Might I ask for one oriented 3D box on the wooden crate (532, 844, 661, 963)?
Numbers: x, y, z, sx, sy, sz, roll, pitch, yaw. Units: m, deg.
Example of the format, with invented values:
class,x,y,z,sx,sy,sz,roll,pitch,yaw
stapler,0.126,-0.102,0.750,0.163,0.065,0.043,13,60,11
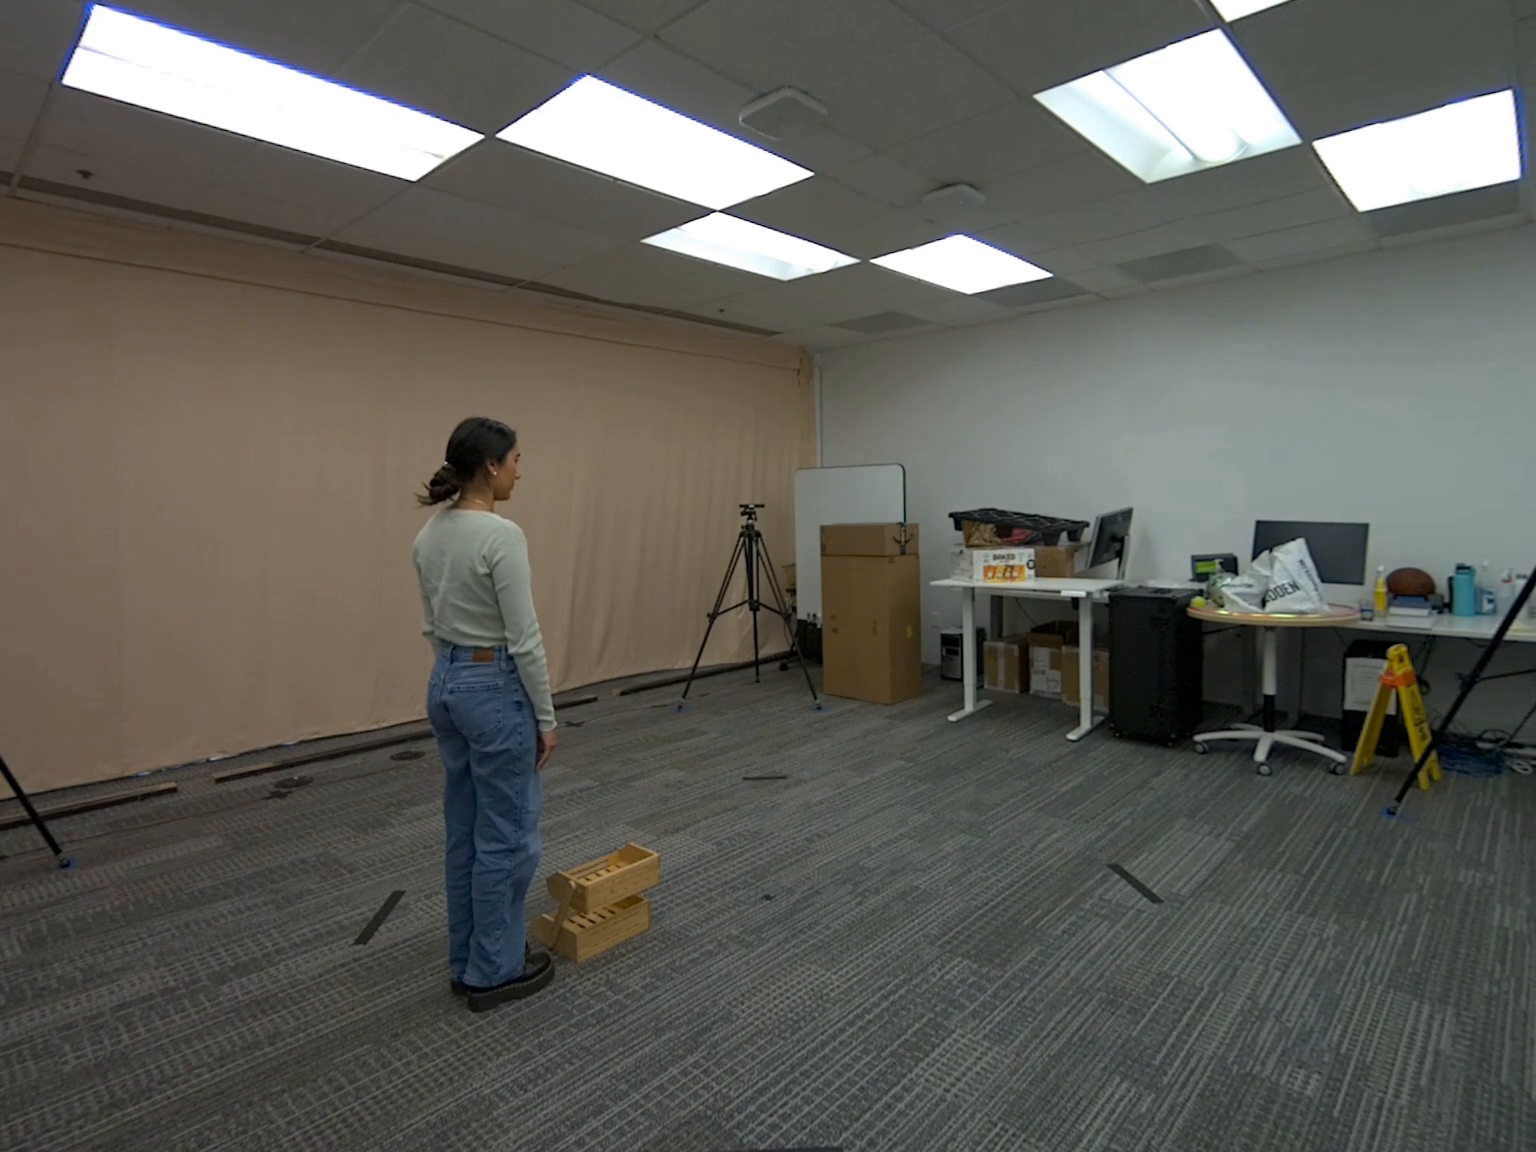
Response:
class,x,y,z,sx,sy,sz,roll,pitch,yaw
wooden crate,-0.564,1.039,2.741,0.312,0.272,0.315,4,6,42
